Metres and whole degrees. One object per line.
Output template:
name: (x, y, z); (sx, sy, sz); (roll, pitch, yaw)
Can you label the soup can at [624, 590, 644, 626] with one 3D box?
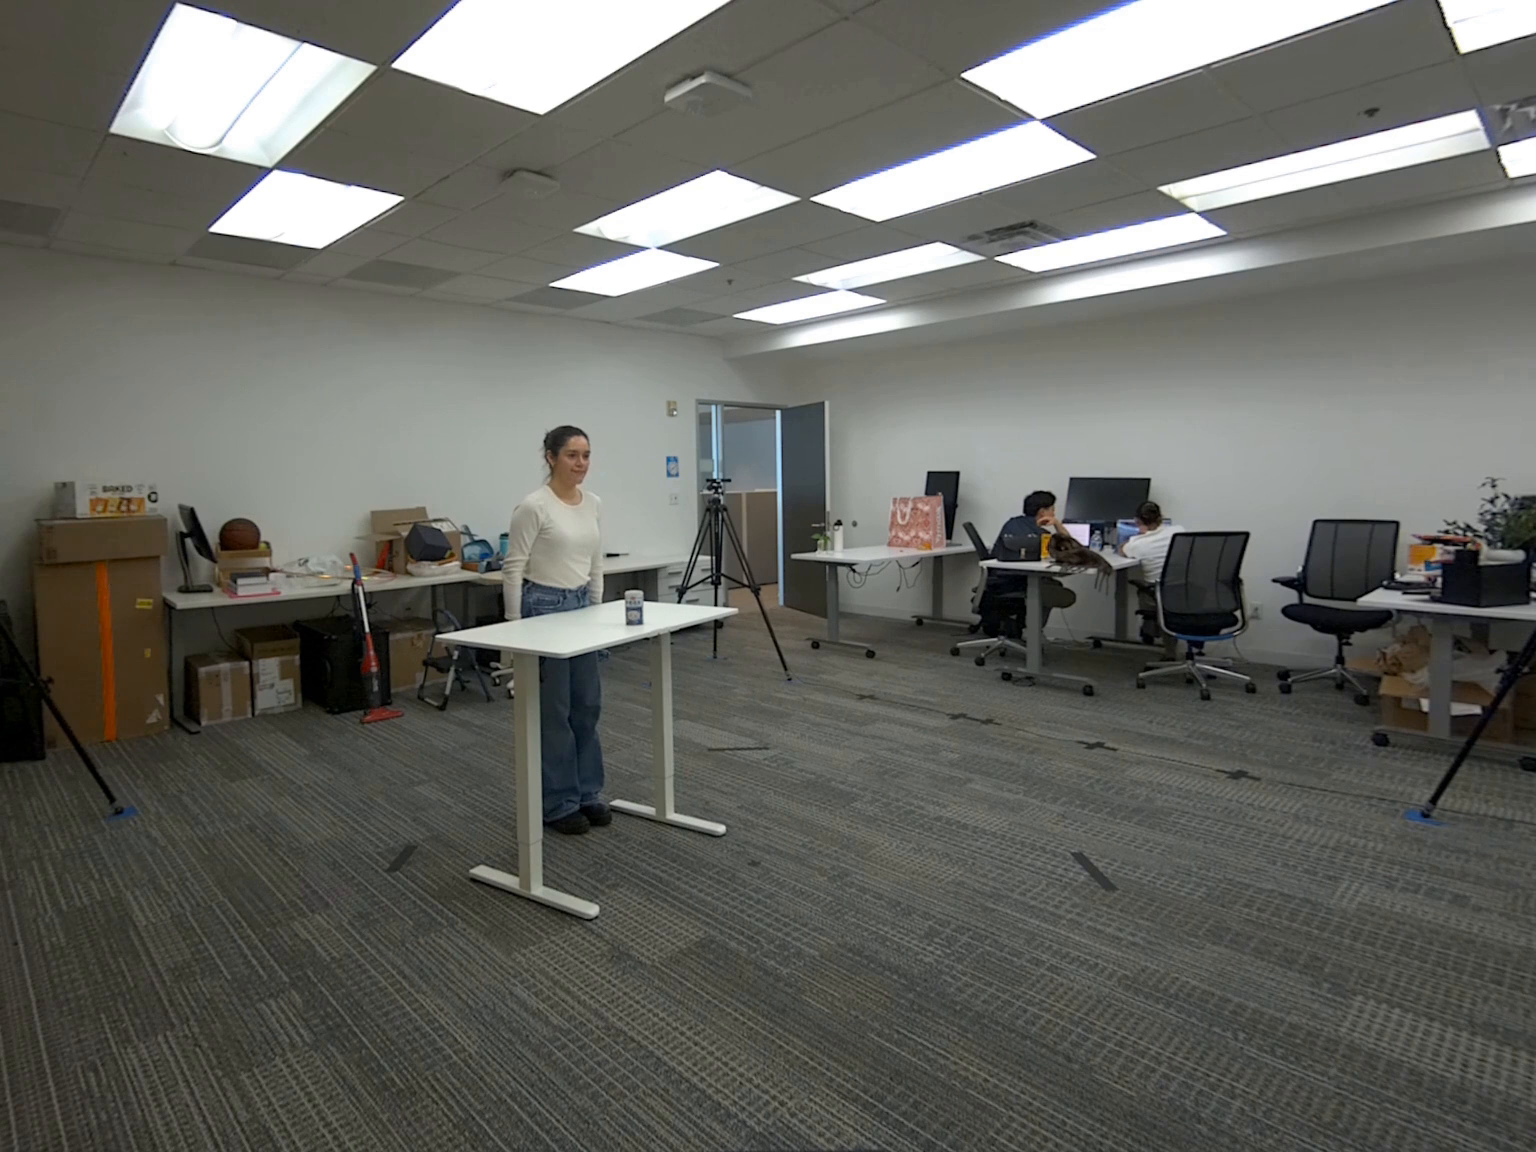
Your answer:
soup can: (-0.479, 0.115, 3.070); (0.067, 0.121, 0.067); (-2, 6, -1)
